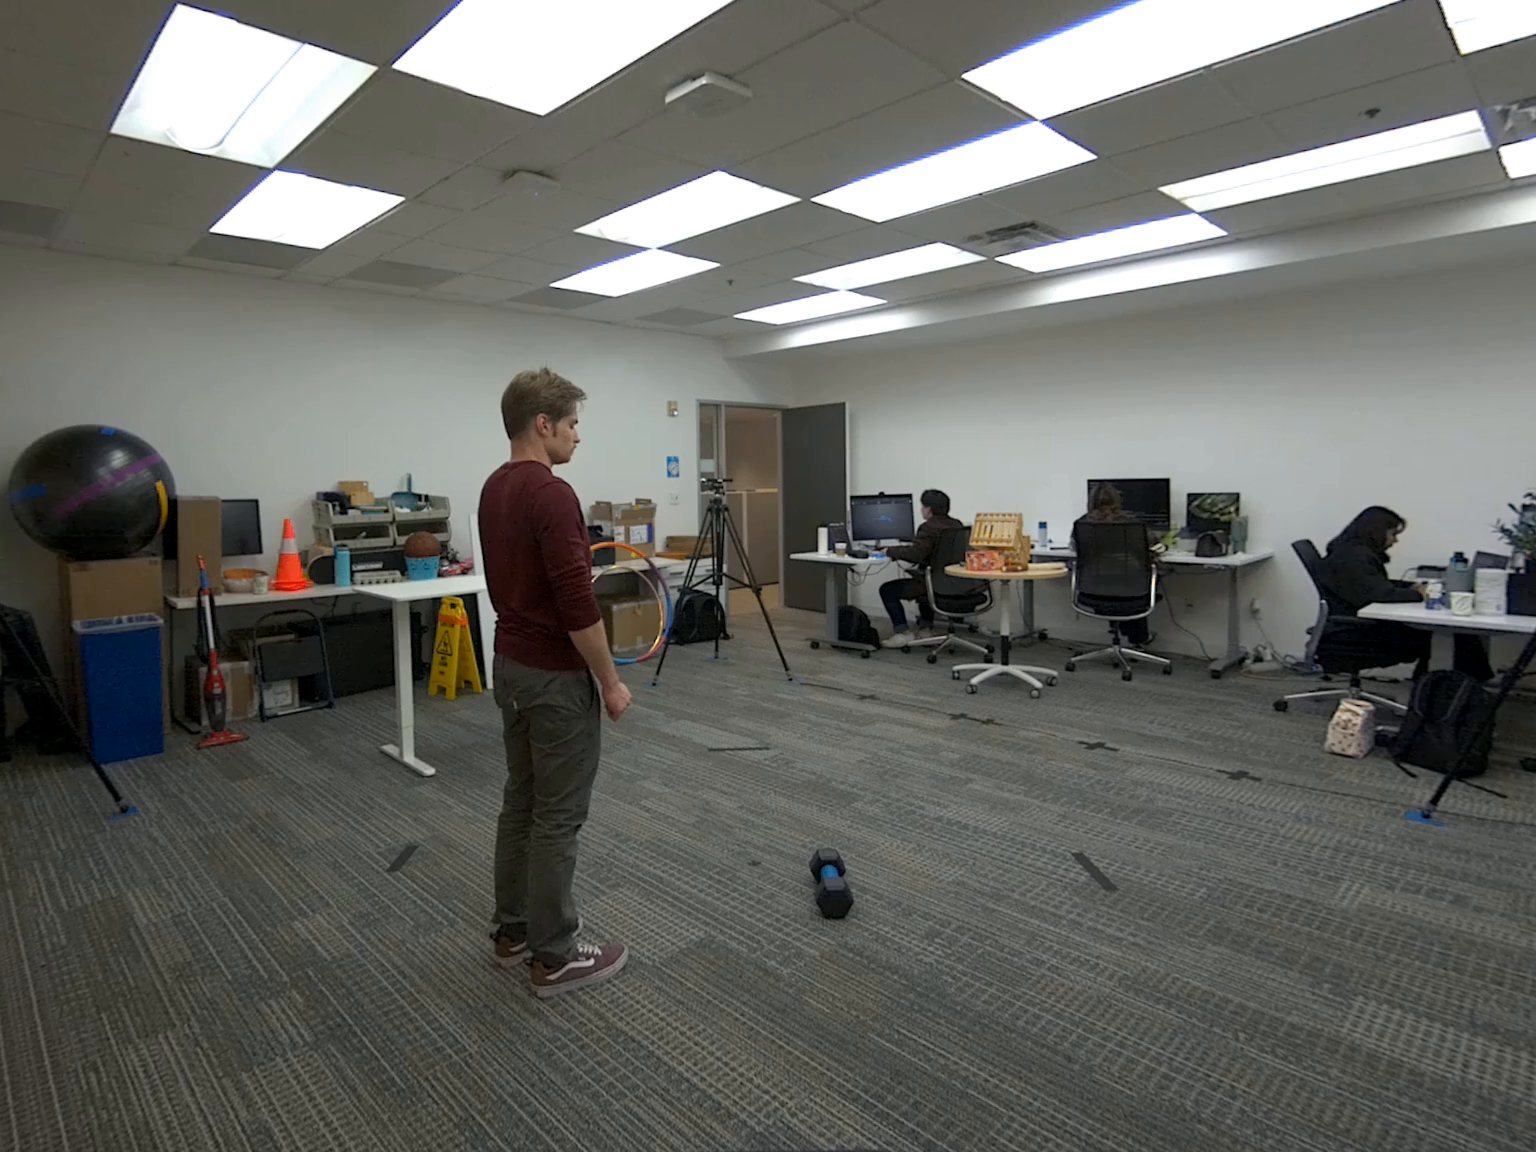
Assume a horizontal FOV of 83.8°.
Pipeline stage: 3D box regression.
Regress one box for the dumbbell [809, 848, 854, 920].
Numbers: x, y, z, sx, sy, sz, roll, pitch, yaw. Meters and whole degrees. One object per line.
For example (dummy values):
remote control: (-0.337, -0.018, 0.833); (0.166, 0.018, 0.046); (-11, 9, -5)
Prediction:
dumbbell: (0.213, 1.018, 2.837); (0.109, 0.122, 0.295); (-32, 6, 2)
